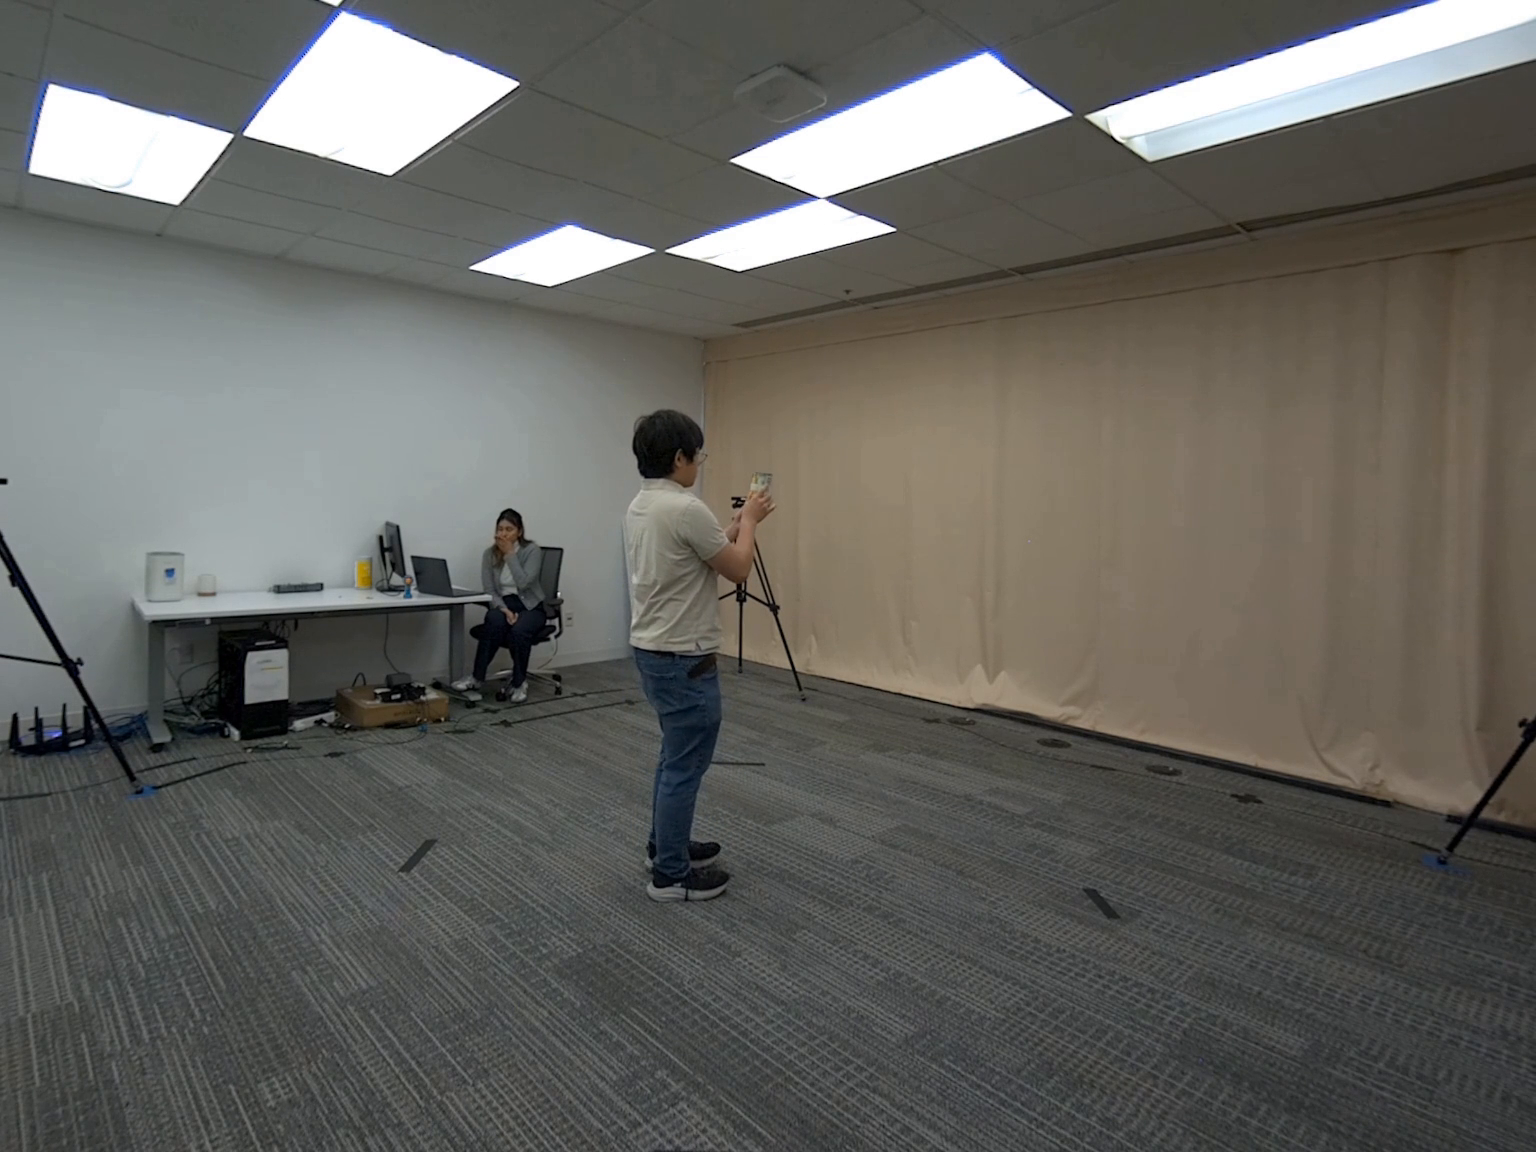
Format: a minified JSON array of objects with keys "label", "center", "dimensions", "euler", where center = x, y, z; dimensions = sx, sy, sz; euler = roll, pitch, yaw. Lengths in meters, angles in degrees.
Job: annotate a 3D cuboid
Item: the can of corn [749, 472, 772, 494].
[{"label":"can of corn","center":[-0.038,-0.323,3.103],"dimensions":[0.074,0.111,0.074],"euler":[12,3,-2]}]
